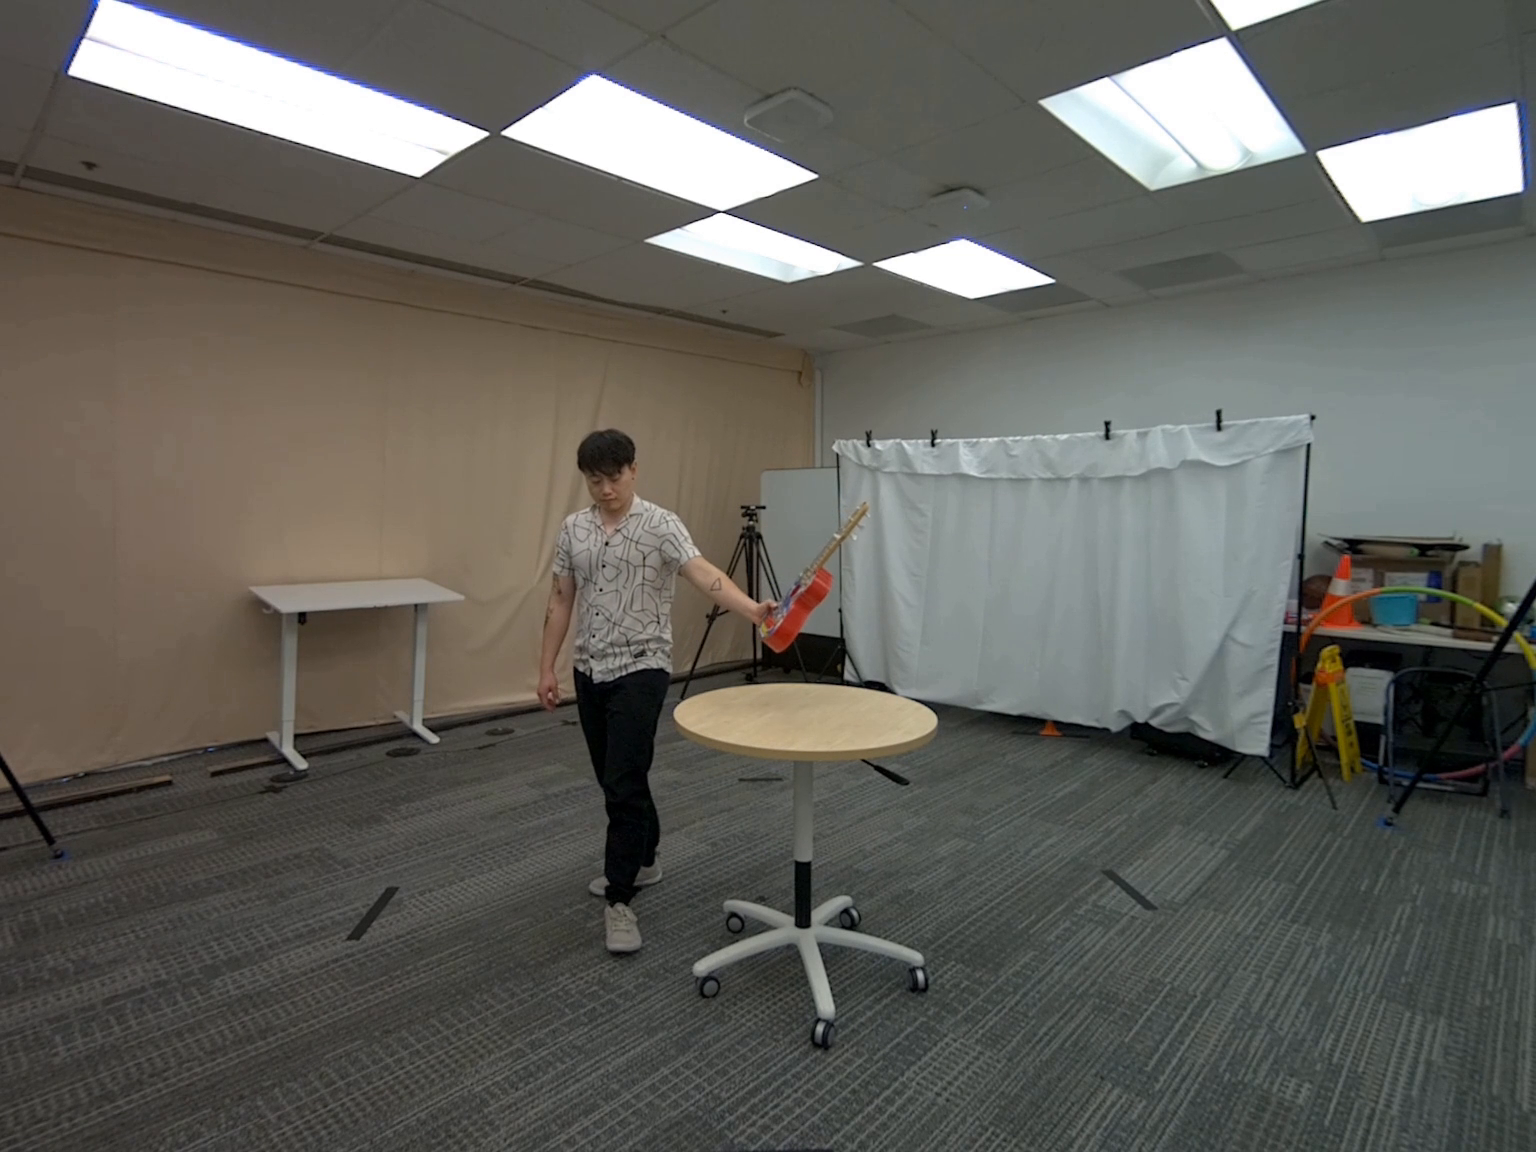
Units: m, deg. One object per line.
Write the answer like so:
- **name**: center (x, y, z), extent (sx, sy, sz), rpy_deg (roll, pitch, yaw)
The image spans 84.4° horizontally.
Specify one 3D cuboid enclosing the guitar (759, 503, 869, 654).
- **guitar**: center (0.146, 0.009, 2.403), extent (0.070, 0.499, 0.194), rpy_deg (38, 16, -11)
